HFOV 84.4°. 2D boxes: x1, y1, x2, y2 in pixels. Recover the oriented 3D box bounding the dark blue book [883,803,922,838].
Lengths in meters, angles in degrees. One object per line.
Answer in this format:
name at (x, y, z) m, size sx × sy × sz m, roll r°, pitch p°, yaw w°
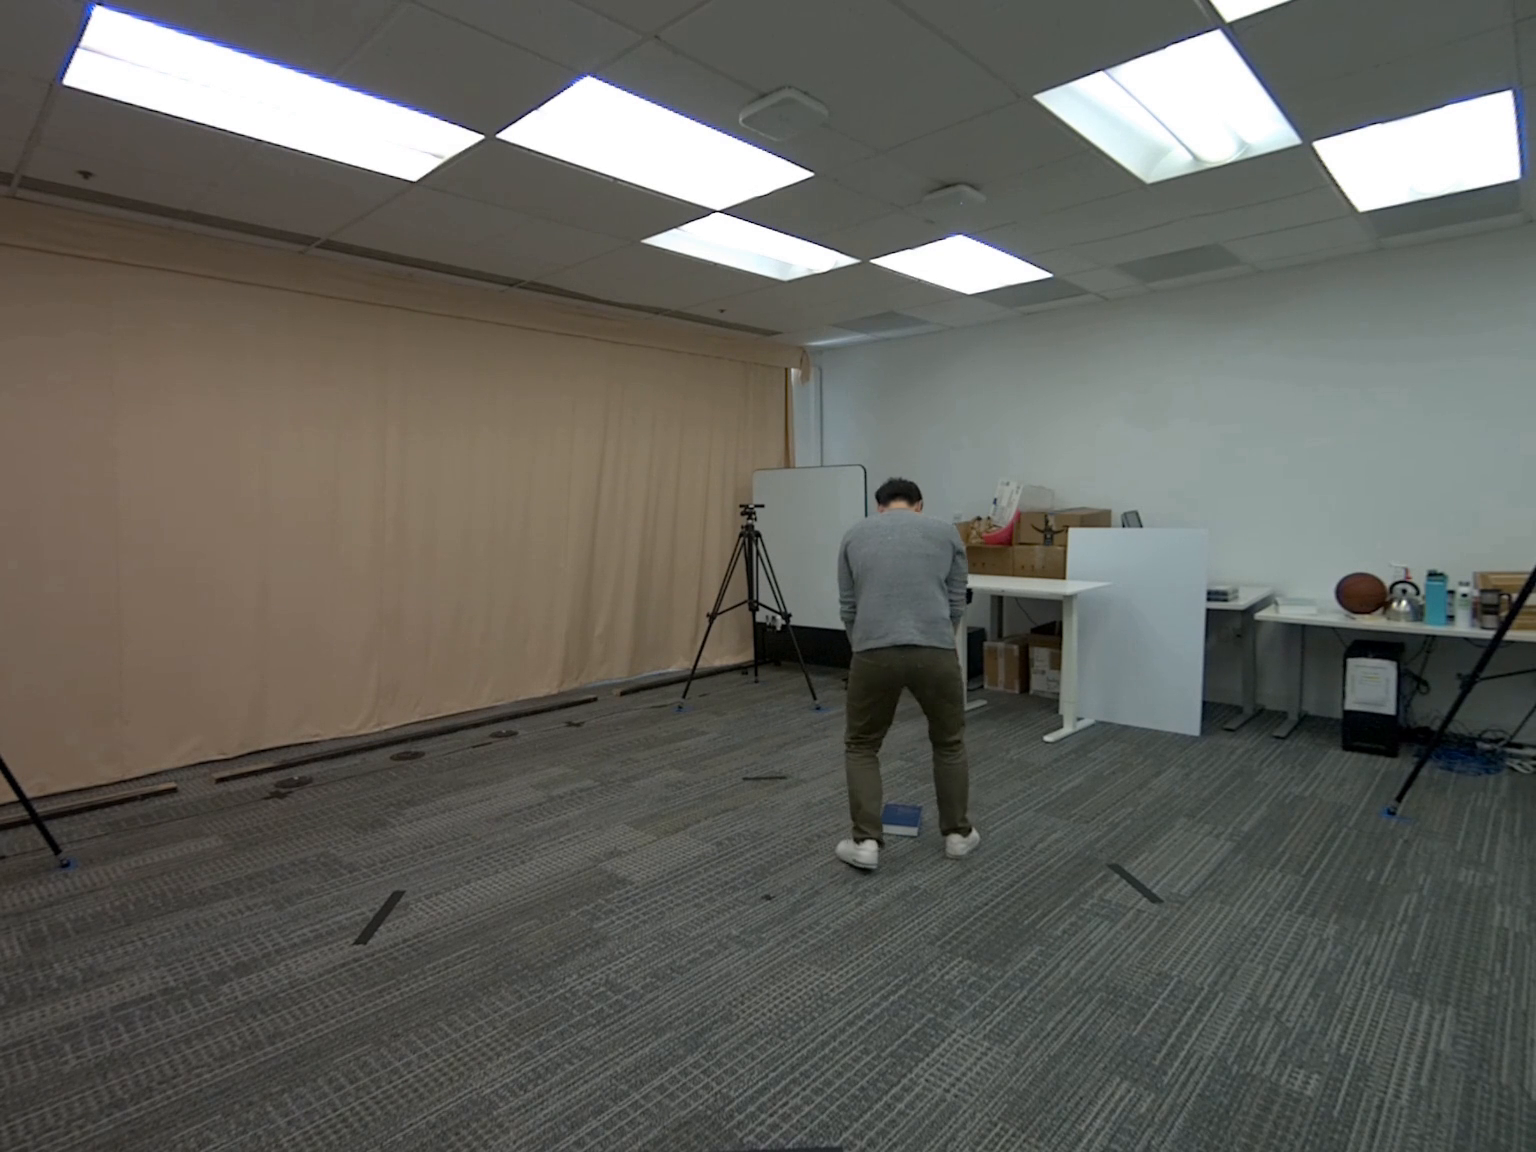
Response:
dark blue book at (0.580, 1.052, 3.633) m, size 0.166 × 0.045 × 0.242 m, roll 1°, pitch 6°, yaw 14°
